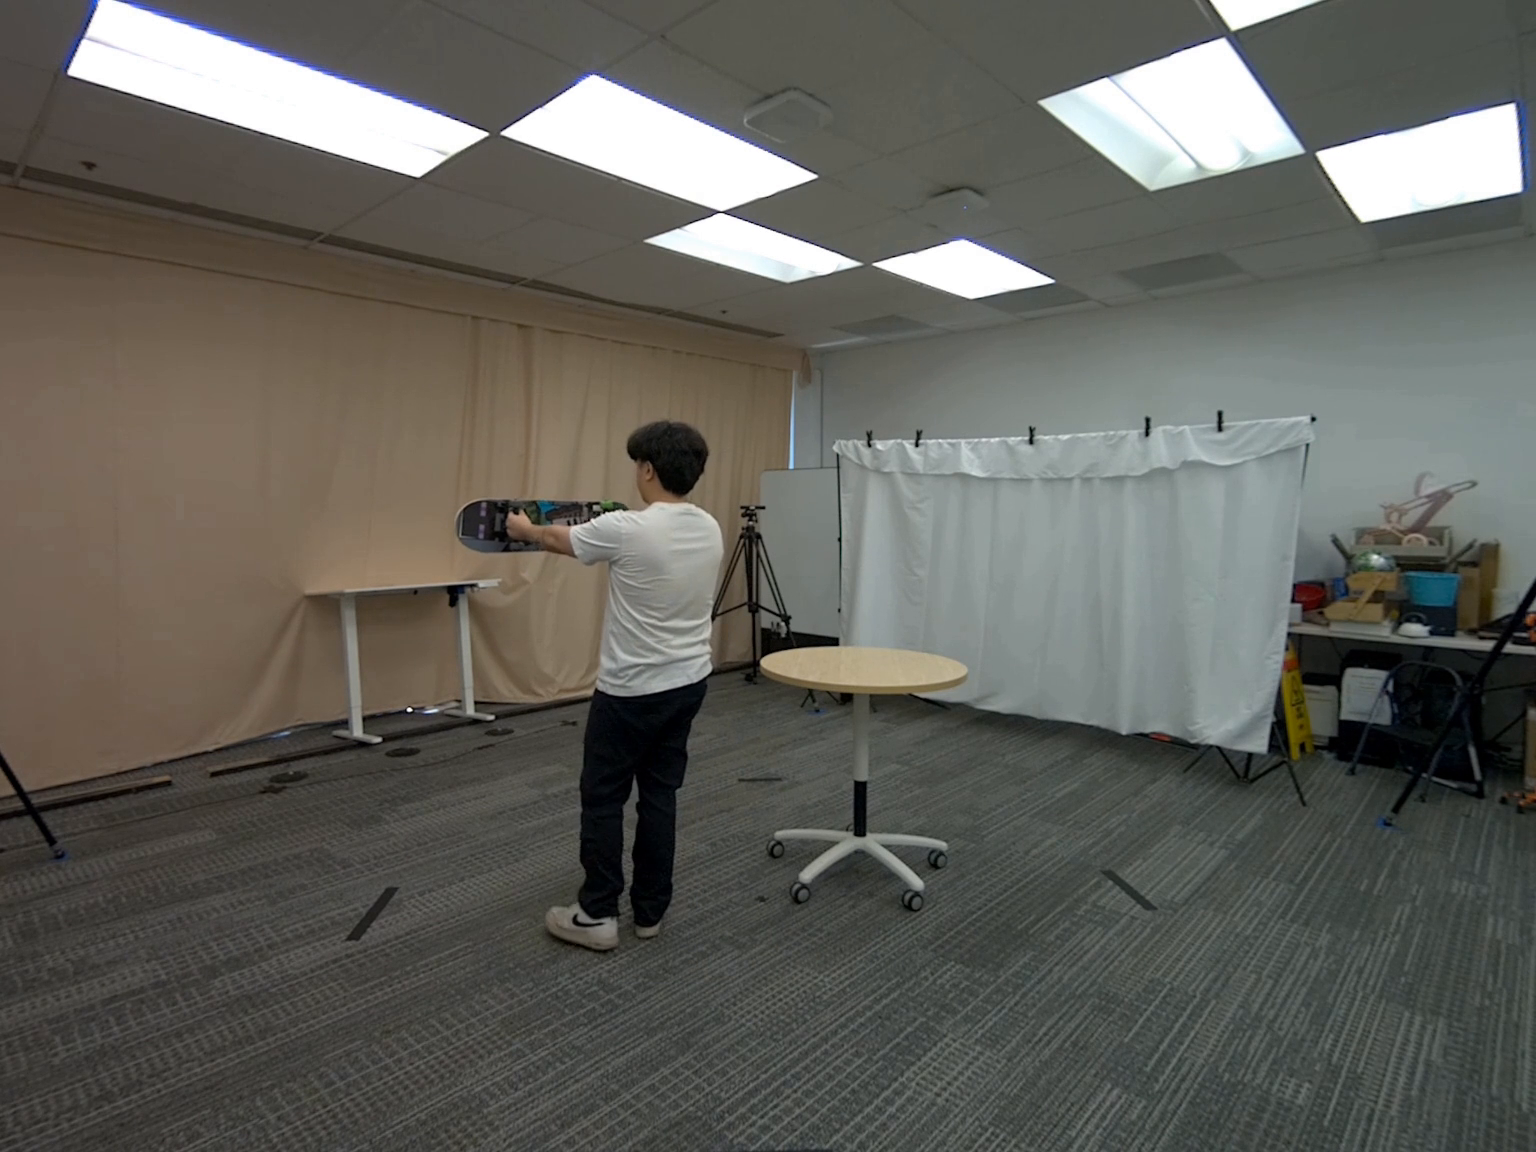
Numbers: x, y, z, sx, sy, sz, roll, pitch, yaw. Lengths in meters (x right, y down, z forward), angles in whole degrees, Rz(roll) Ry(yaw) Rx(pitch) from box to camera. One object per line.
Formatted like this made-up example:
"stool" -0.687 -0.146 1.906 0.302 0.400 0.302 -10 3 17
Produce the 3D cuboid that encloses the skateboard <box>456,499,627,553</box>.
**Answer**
"skateboard" -0.792 -0.185 3.179 0.114 0.193 0.761 1 3 45
